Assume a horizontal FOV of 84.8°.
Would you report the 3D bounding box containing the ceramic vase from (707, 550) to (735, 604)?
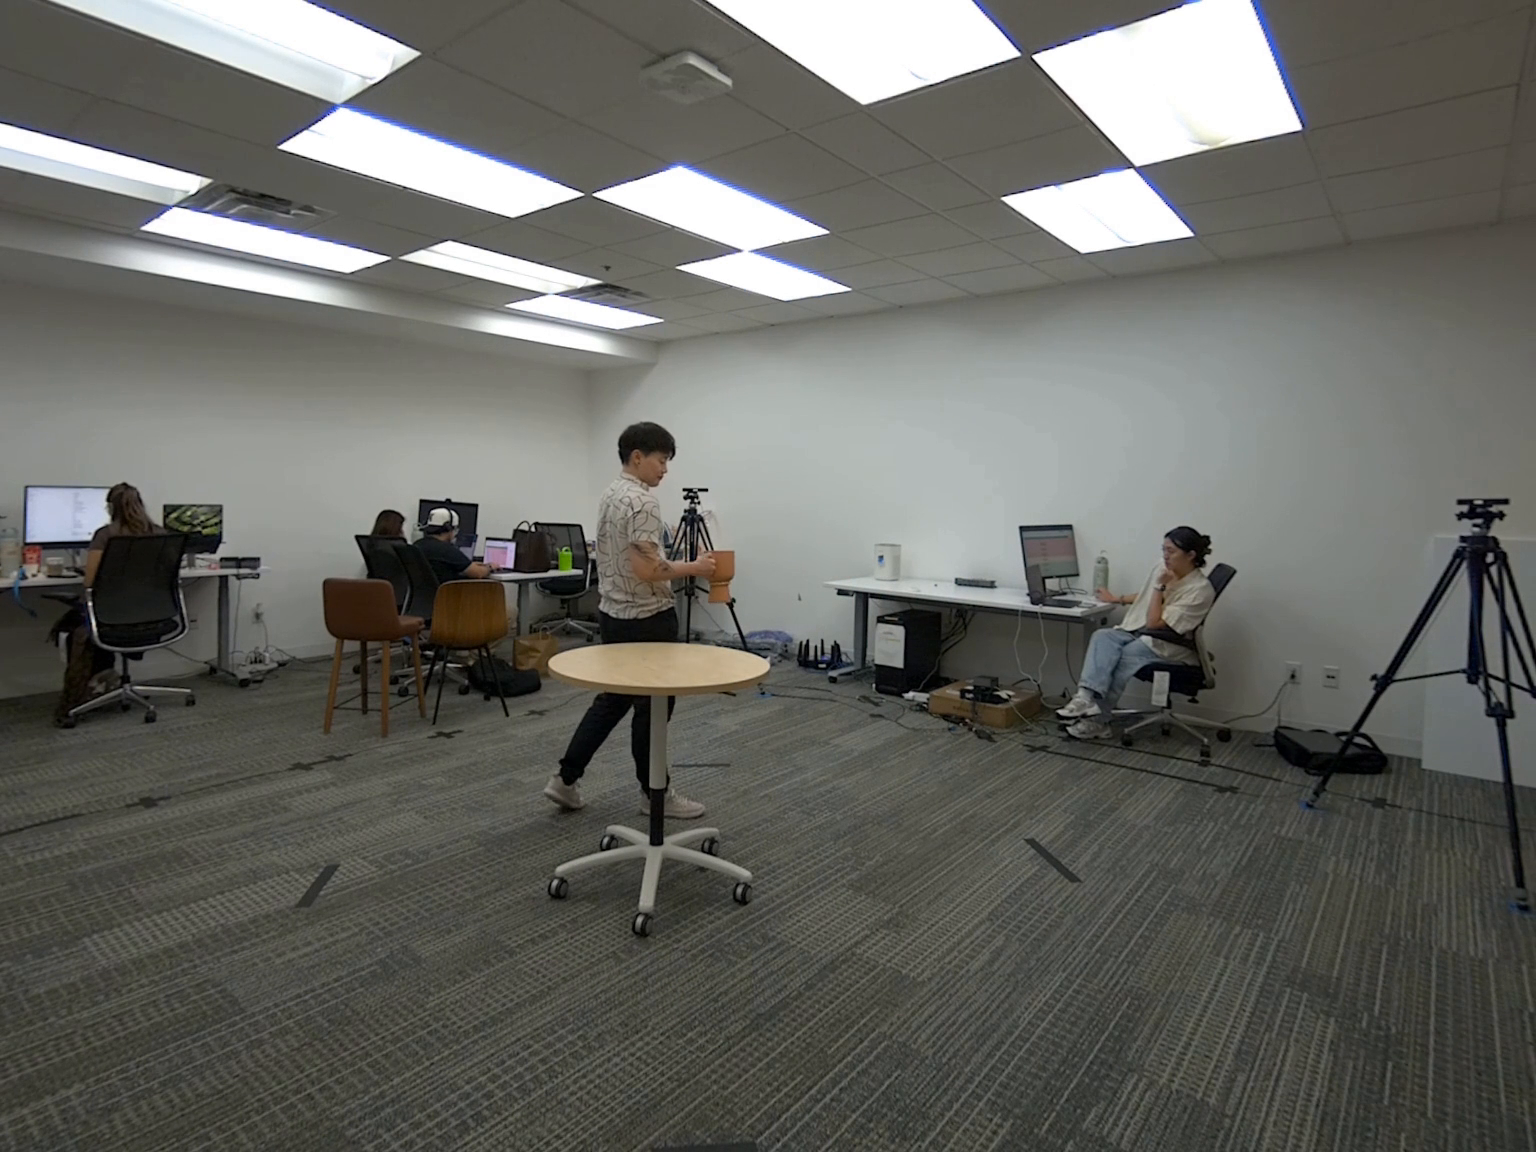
[{"bbox_3d":[-0.227,0.002,3.613,0.154,0.220,0.138,1,-1,-29],"label":"ceramic vase"}]
